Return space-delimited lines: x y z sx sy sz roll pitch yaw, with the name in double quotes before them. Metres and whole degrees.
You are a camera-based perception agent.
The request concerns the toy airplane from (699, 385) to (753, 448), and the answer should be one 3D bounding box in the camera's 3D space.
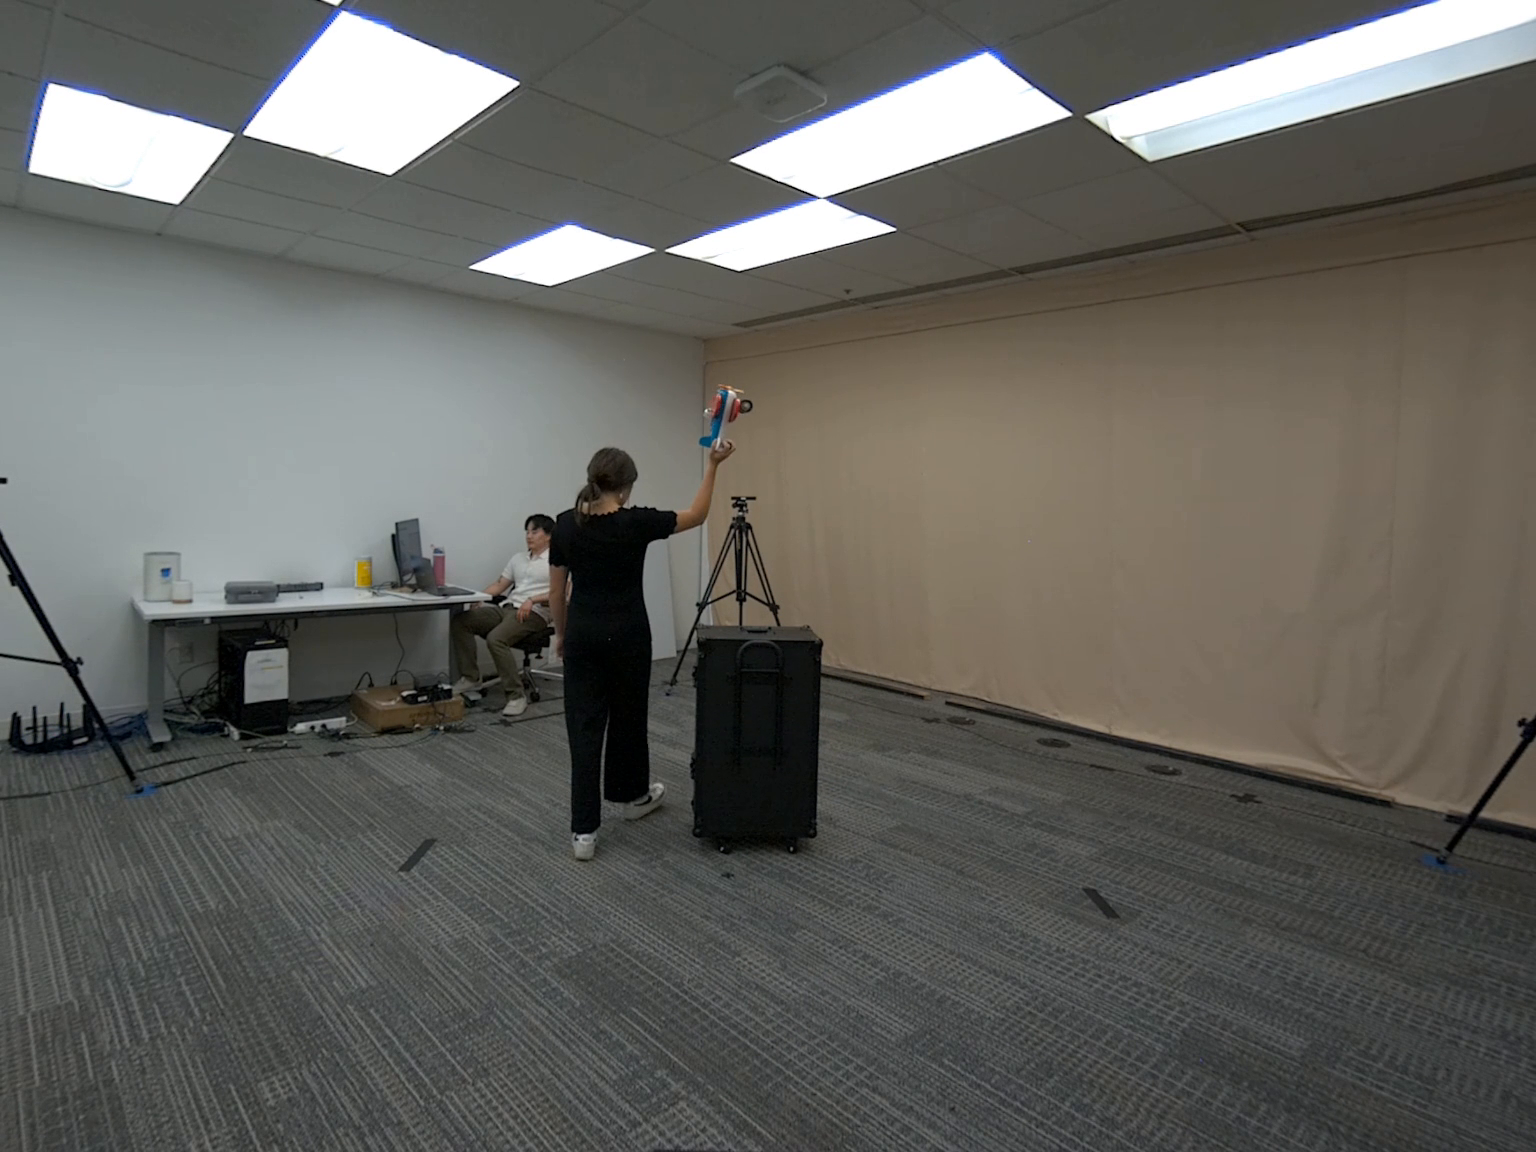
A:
"toy airplane" -0.178 -0.635 3.381 0.155 0.261 0.251 26 -24 -11
